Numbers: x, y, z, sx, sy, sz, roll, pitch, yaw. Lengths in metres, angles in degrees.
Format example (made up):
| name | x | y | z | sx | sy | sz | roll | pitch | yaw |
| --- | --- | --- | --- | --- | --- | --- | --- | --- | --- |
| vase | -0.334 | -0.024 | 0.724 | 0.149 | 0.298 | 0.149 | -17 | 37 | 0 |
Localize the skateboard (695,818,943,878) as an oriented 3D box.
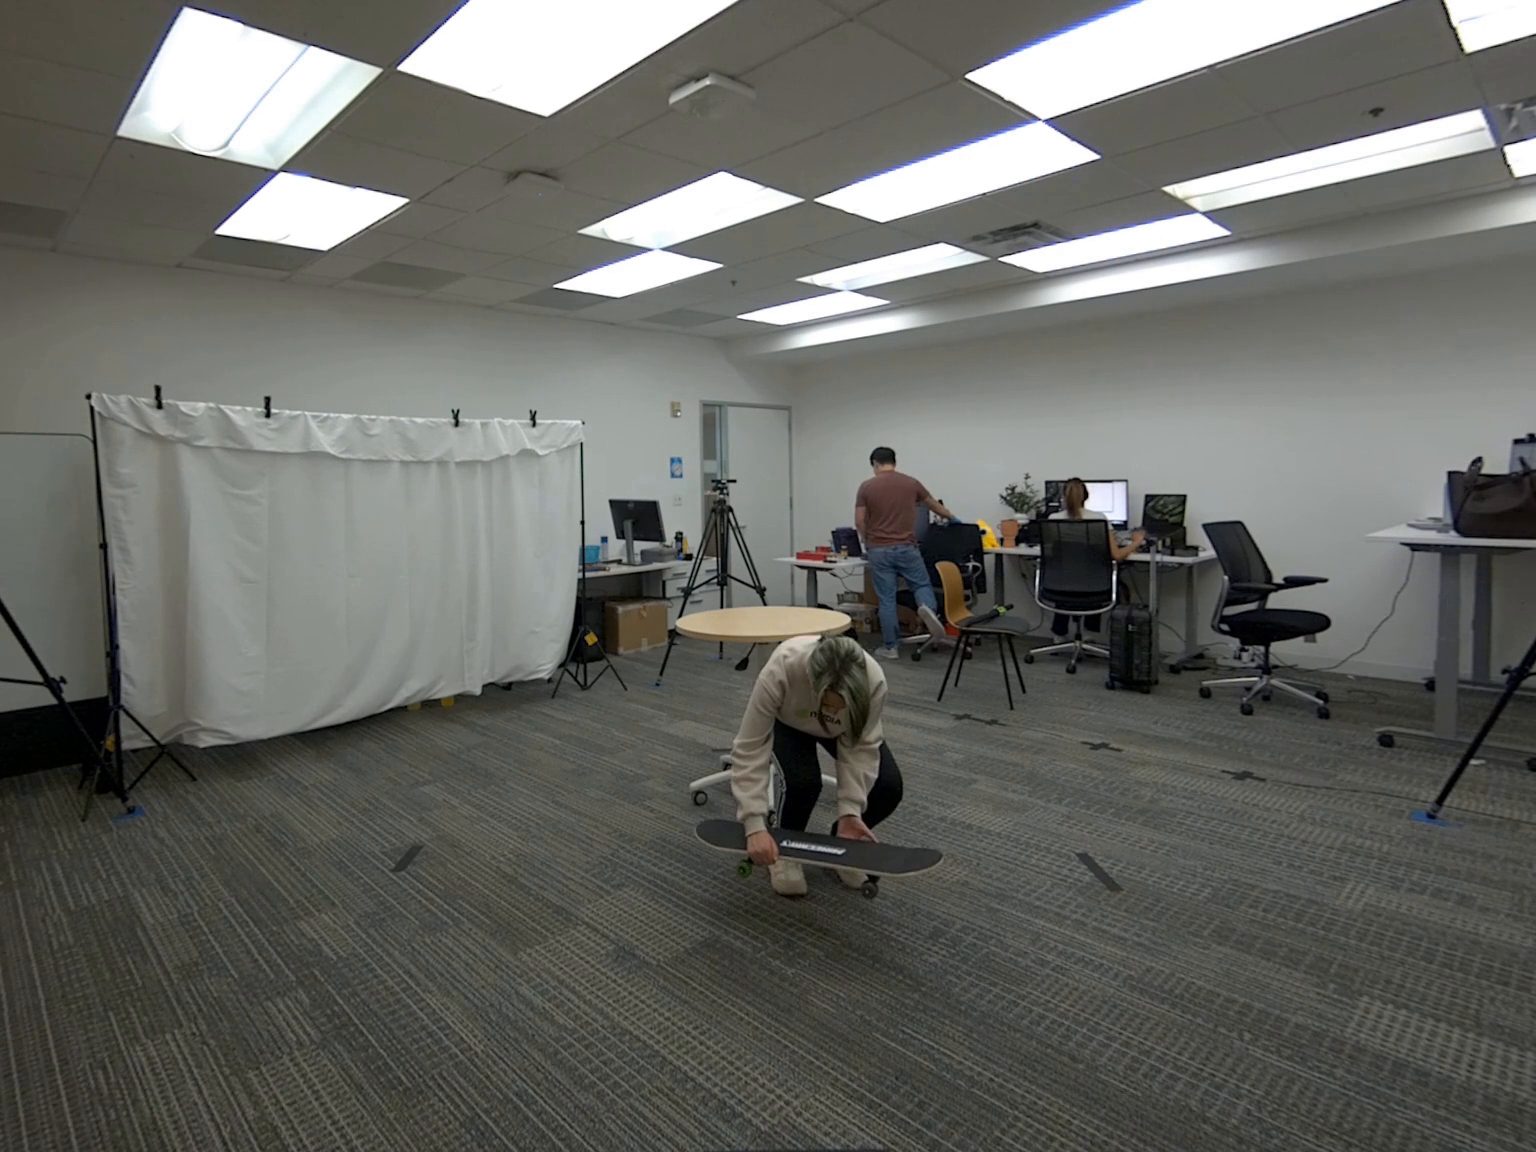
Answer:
| name | x | y | z | sx | sy | sz | roll | pitch | yaw |
| --- | --- | --- | --- | --- | --- | --- | --- | --- | --- |
| skateboard | 0.148 | 0.868 | 2.606 | 0.803 | 0.110 | 0.190 | 0 | 8 | 25 |
